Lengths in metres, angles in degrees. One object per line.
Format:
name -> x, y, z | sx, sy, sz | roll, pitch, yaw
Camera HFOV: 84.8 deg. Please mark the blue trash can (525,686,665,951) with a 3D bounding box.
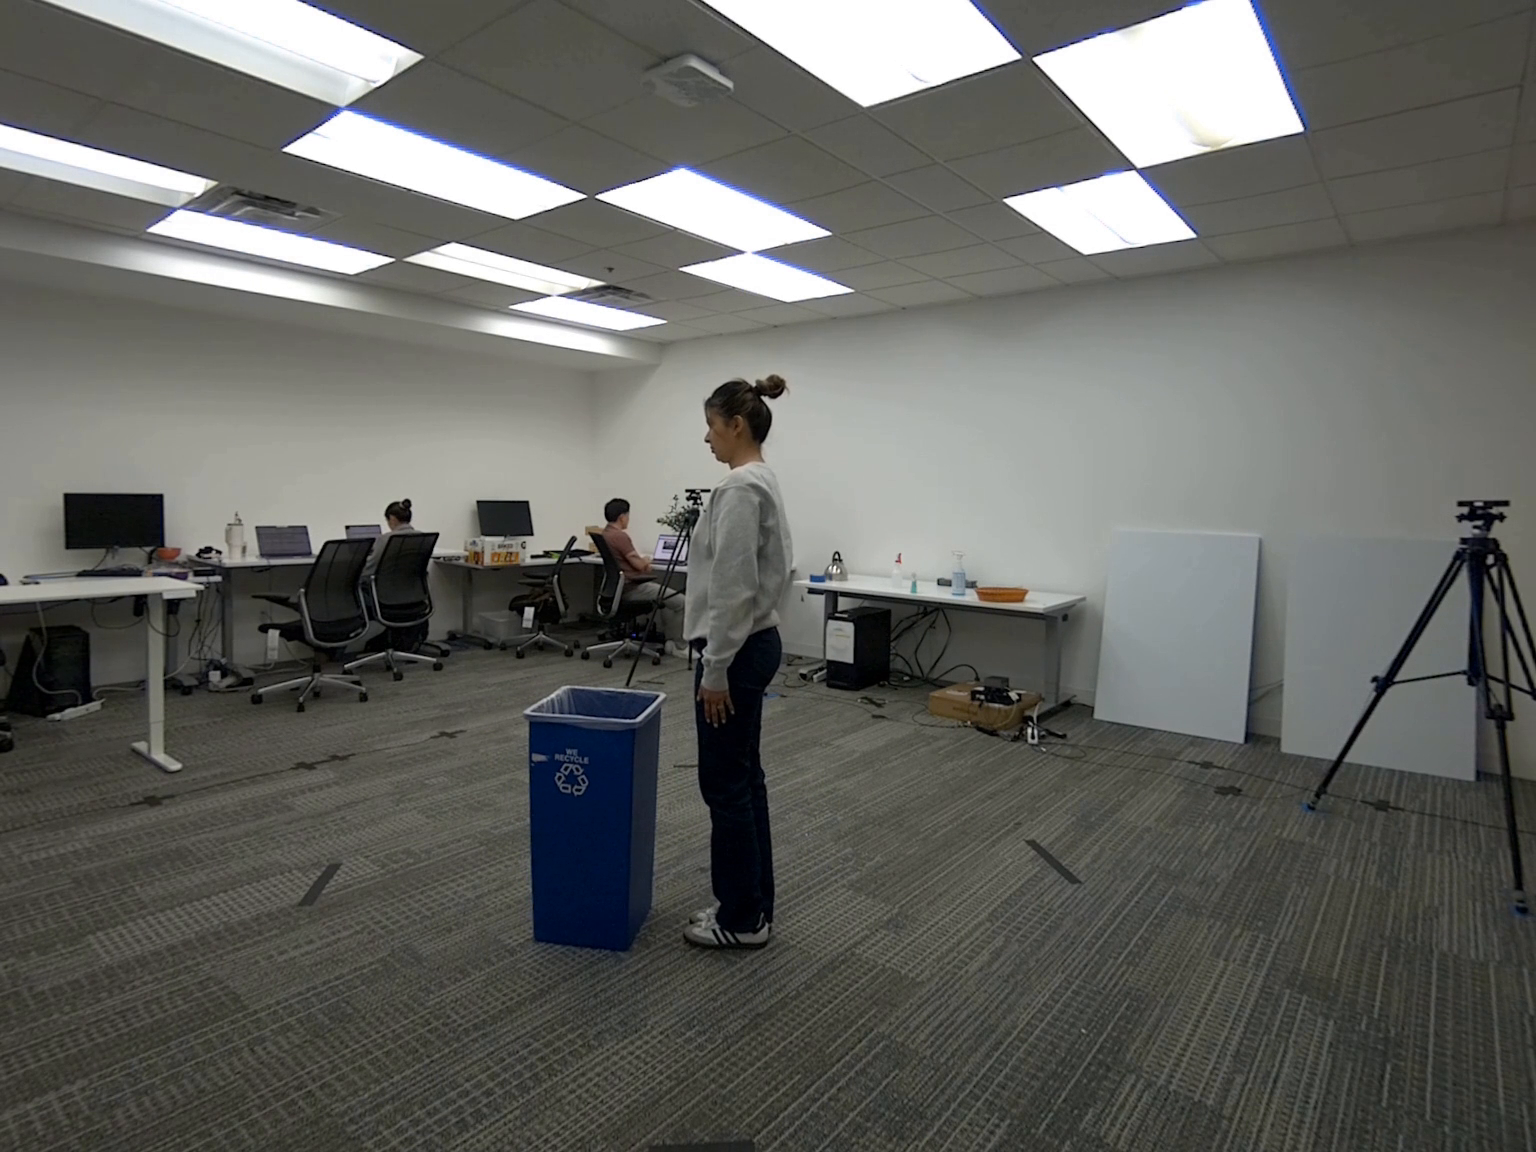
blue trash can -> -0.549, 0.751, 2.701 | 0.378, 0.711, 0.375 | 1, 4, 9
